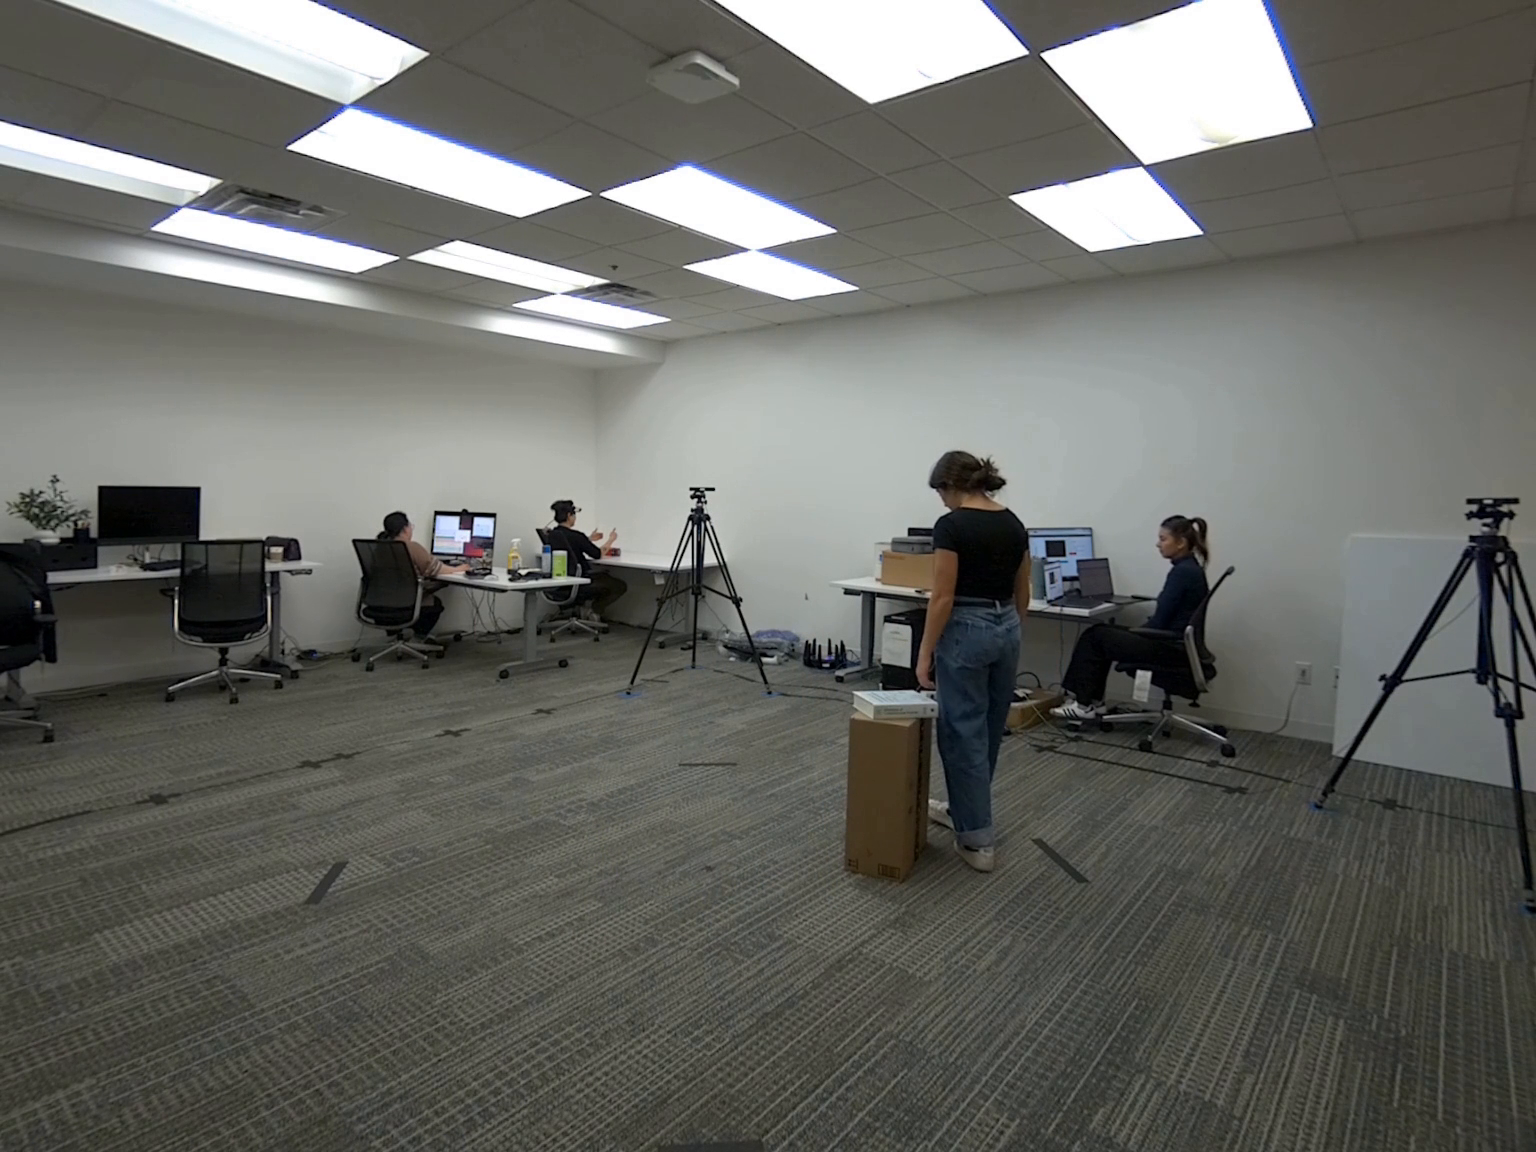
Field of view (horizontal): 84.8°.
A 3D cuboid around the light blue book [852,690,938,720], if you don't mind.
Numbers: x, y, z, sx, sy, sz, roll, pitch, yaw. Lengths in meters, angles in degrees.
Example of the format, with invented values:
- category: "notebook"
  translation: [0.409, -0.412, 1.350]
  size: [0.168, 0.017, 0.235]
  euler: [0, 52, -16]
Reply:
- category: "light blue book"
  translation: [0.475, 0.484, 3.200]
  size: [0.256, 0.059, 0.195]
  euler: [1, 6, -16]
